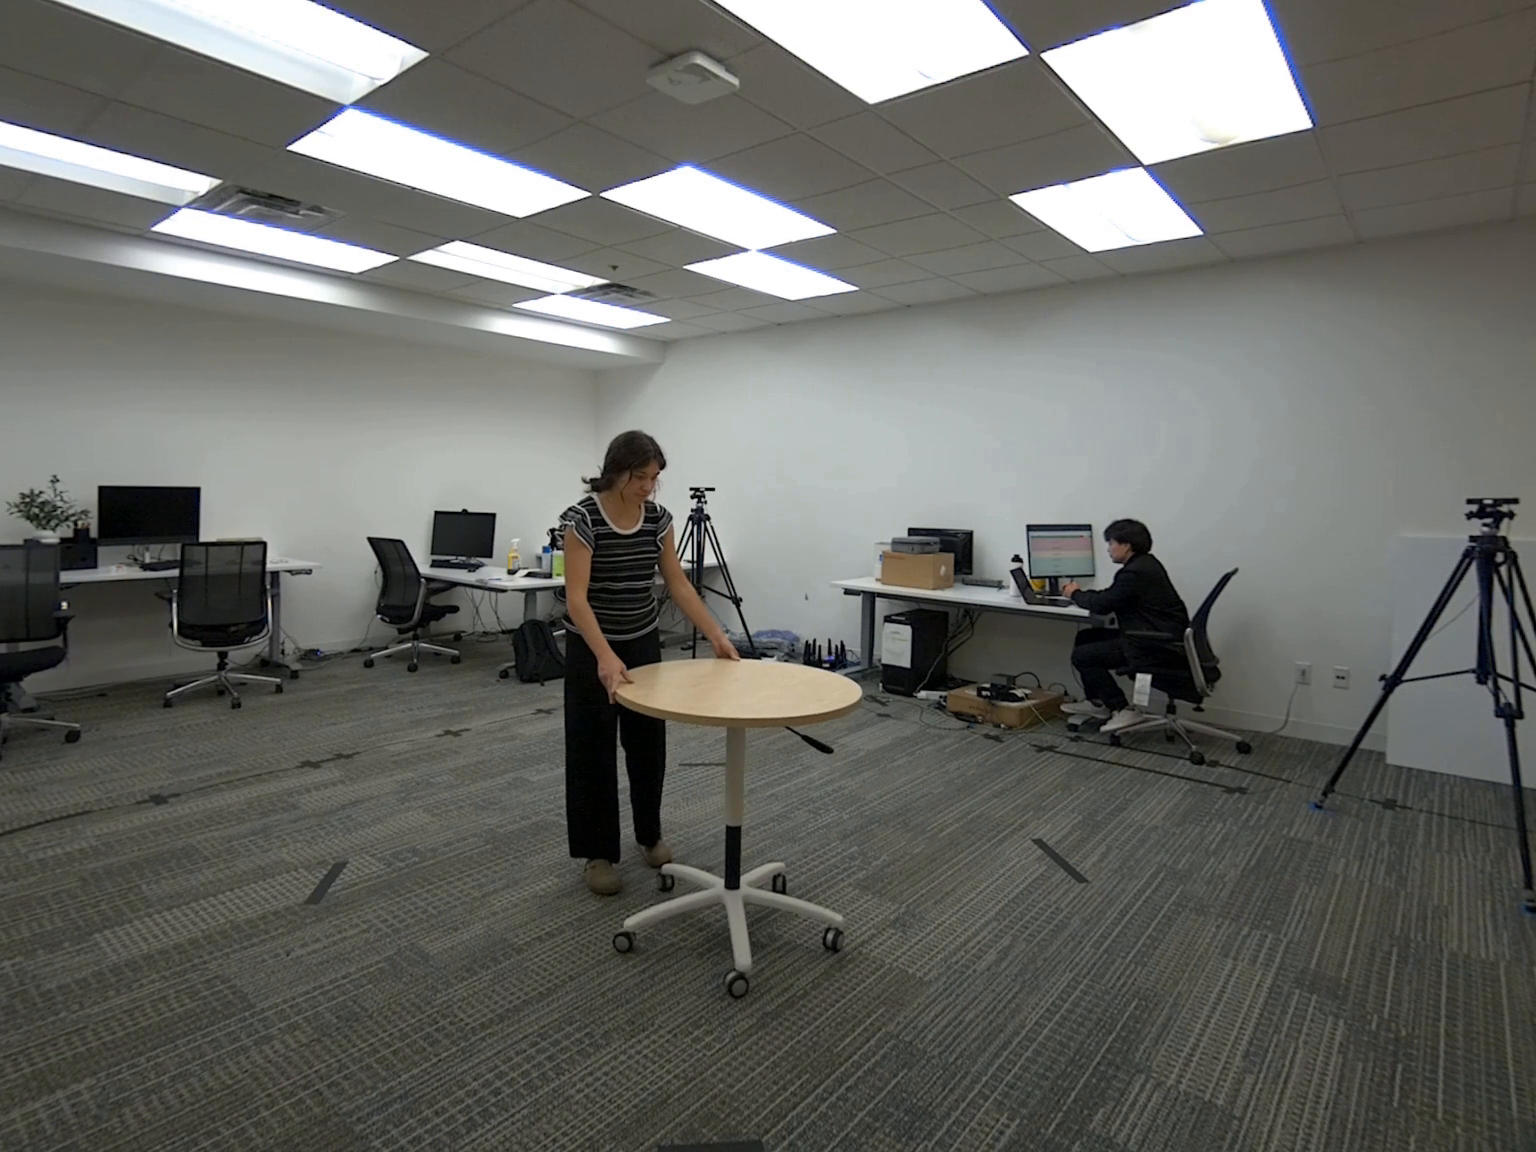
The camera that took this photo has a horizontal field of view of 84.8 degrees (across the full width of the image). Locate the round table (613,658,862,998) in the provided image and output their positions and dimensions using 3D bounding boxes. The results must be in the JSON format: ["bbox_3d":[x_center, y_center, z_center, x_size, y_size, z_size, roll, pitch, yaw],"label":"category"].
[{"bbox_3d":[-0.104,0.720,2.646,0.784,0.783,0.789,1,5,-2],"label":"round table"}]
